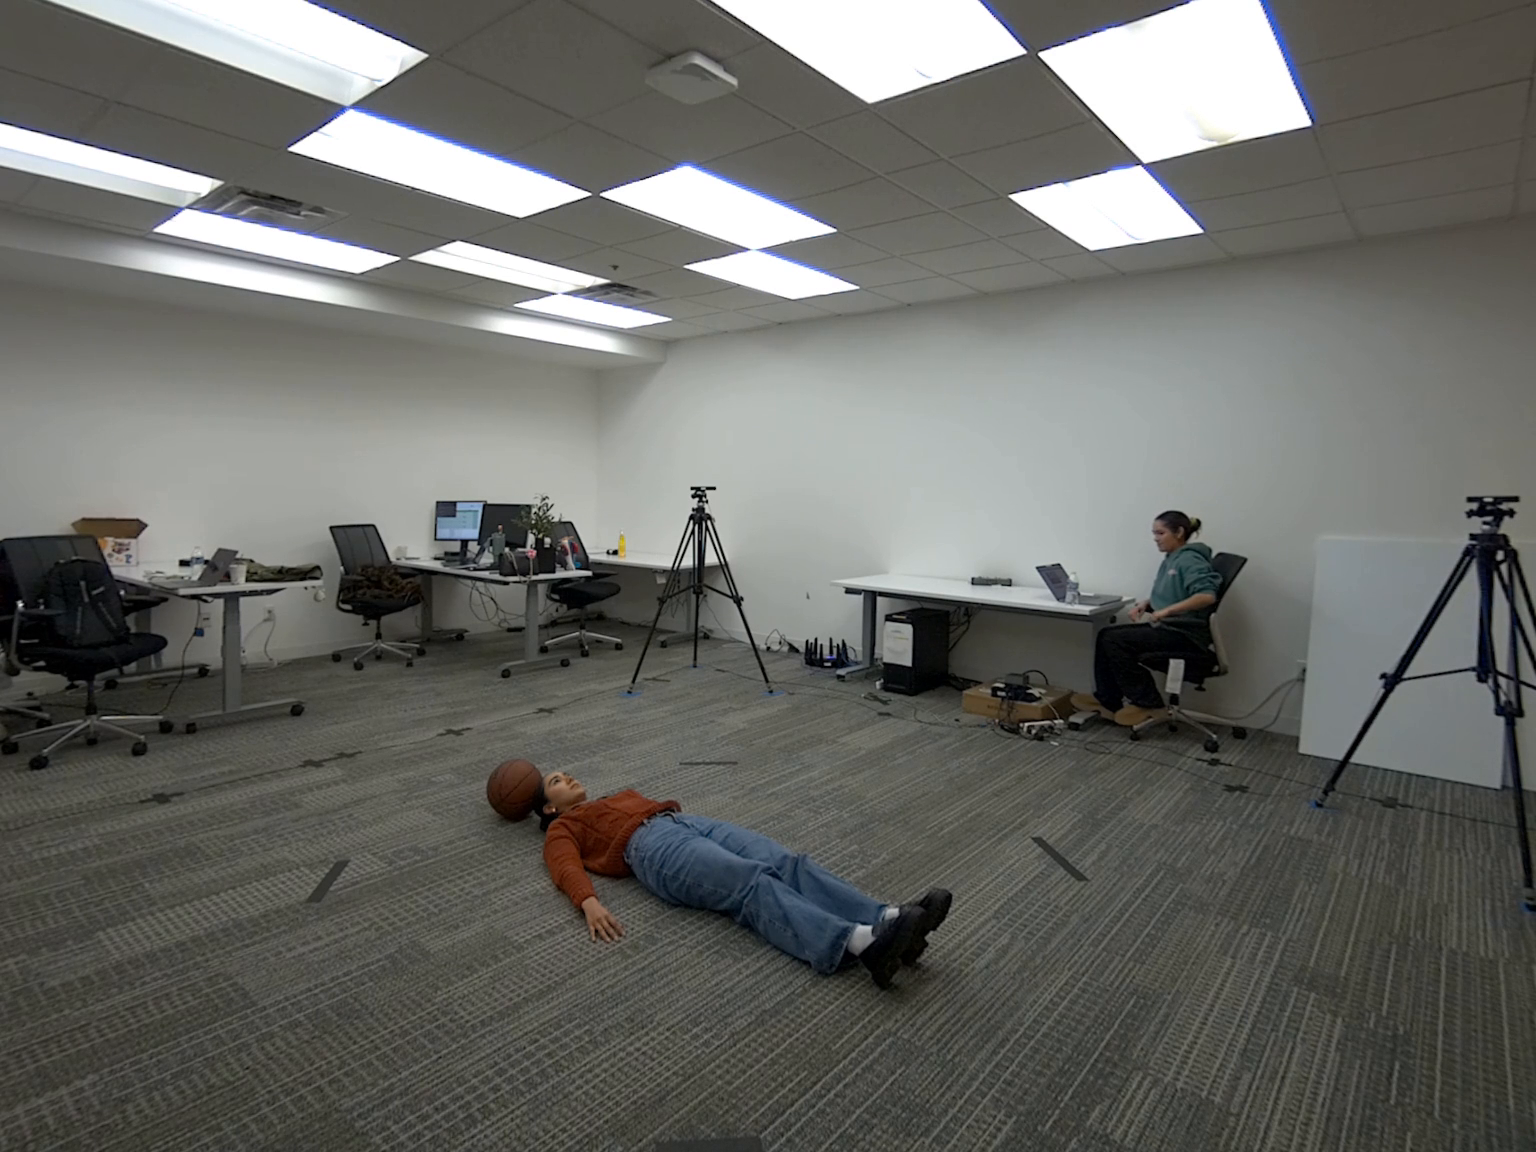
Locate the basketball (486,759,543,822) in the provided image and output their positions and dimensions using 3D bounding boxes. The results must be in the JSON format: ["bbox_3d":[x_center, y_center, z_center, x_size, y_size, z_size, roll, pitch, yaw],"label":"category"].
[{"bbox_3d":[-1.064,0.887,3.563,0.236,0.235,0.237,-3,3,-2],"label":"basketball"}]
